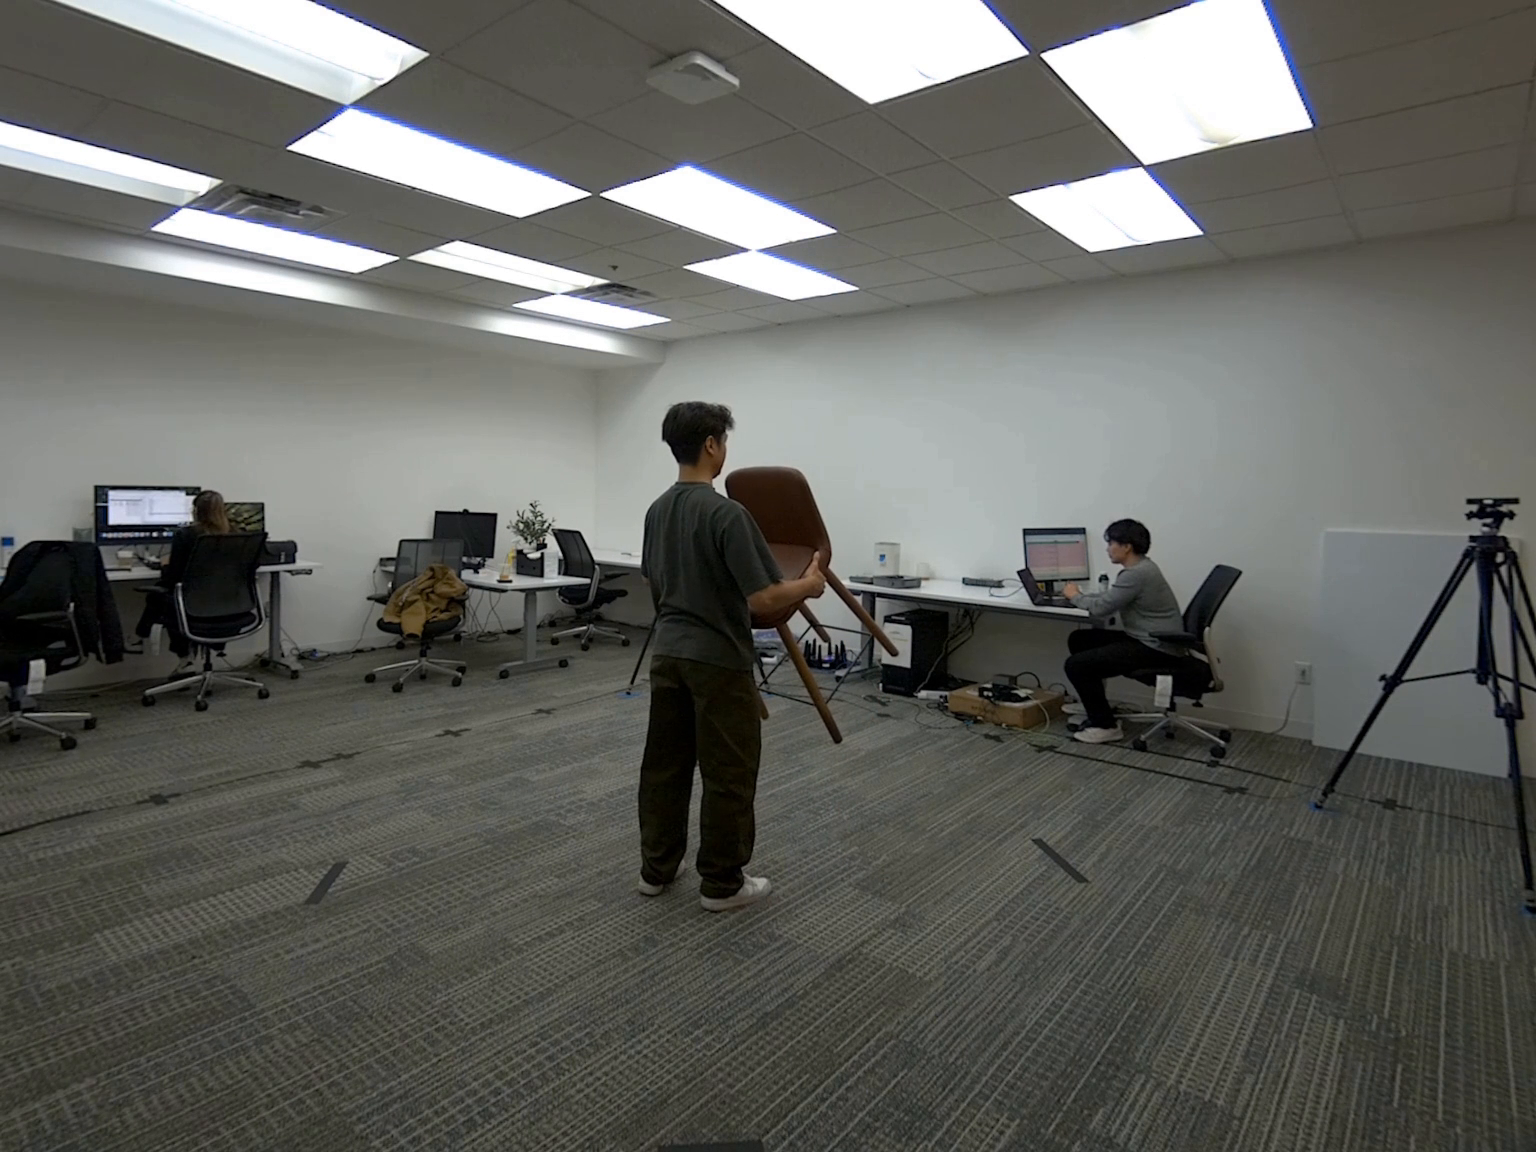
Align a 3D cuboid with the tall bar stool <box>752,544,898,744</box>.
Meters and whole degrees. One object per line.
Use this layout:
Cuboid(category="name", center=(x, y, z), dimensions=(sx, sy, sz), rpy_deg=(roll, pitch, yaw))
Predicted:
Cuboid(category="tall bar stool", center=(0.036, 0.099, 3.060), dimensions=(0.472, 0.861, 0.467), rpy_deg=(6, 43, 48))
